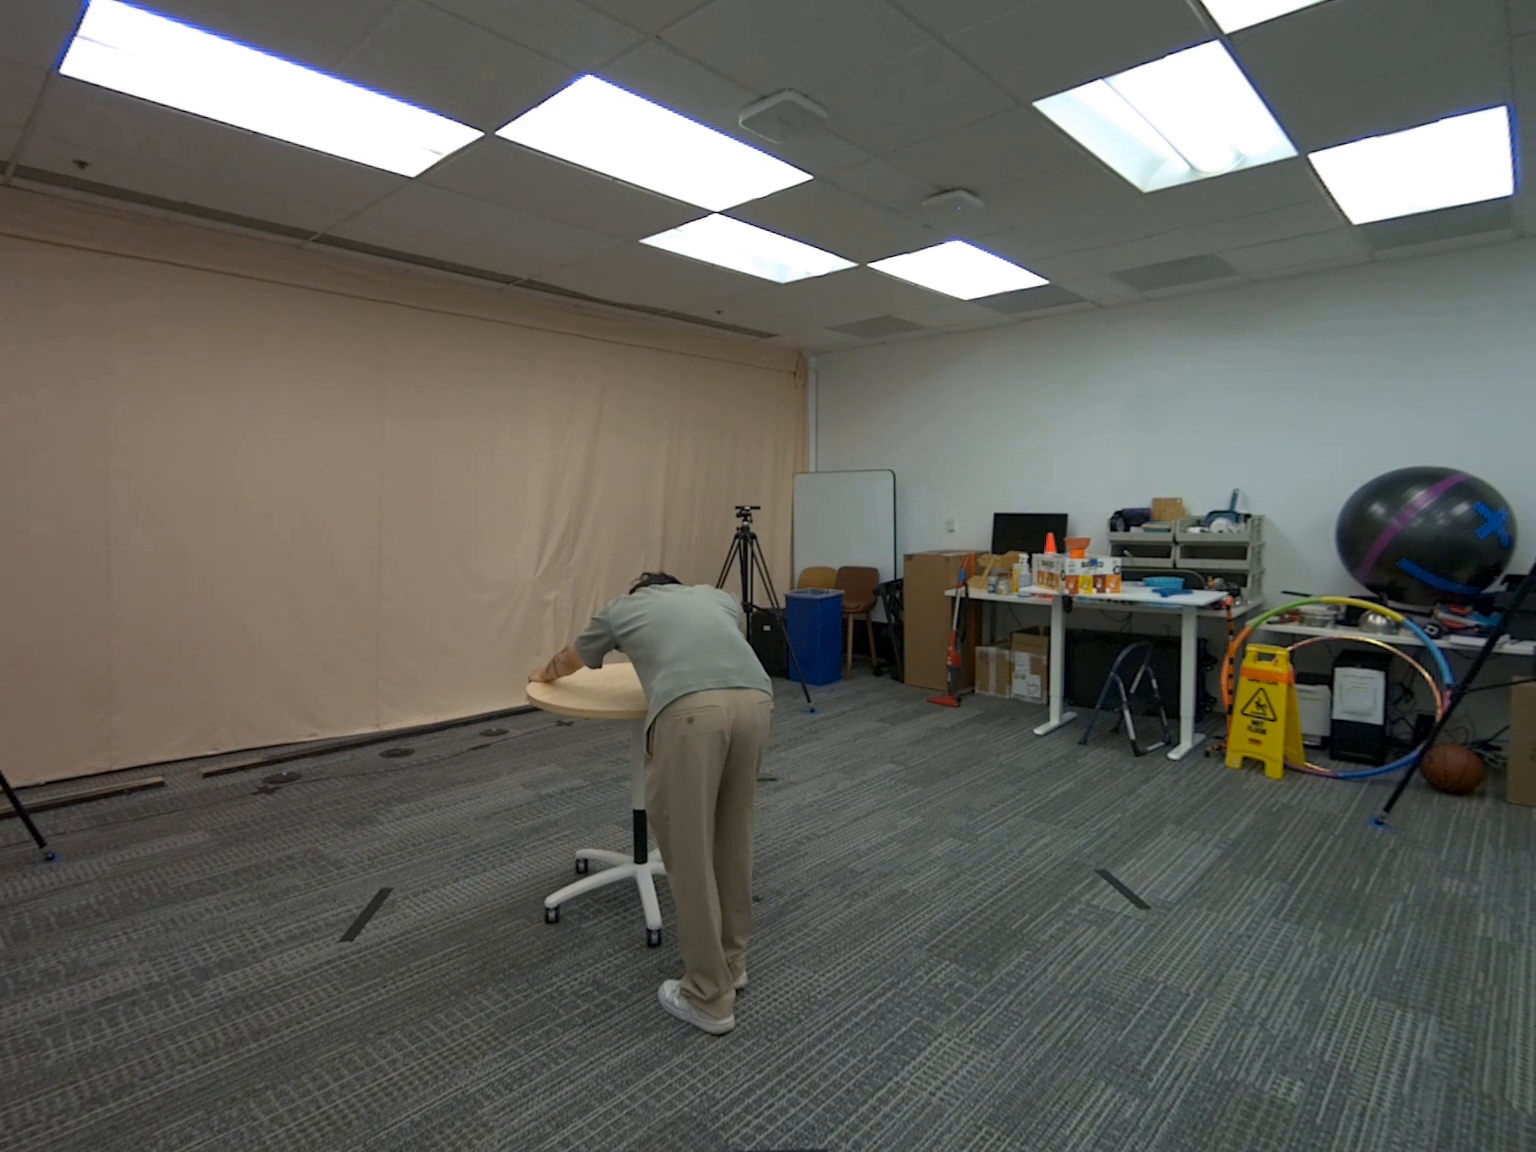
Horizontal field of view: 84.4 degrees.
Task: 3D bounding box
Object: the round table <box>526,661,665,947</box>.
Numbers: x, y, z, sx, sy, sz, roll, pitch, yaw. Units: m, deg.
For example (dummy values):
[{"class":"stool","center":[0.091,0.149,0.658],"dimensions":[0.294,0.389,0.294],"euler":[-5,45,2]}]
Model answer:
[{"class":"round table","center":[-0.464,0.760,2.960],"dimensions":[0.784,0.785,0.787],"euler":[1,3,-2]}]
